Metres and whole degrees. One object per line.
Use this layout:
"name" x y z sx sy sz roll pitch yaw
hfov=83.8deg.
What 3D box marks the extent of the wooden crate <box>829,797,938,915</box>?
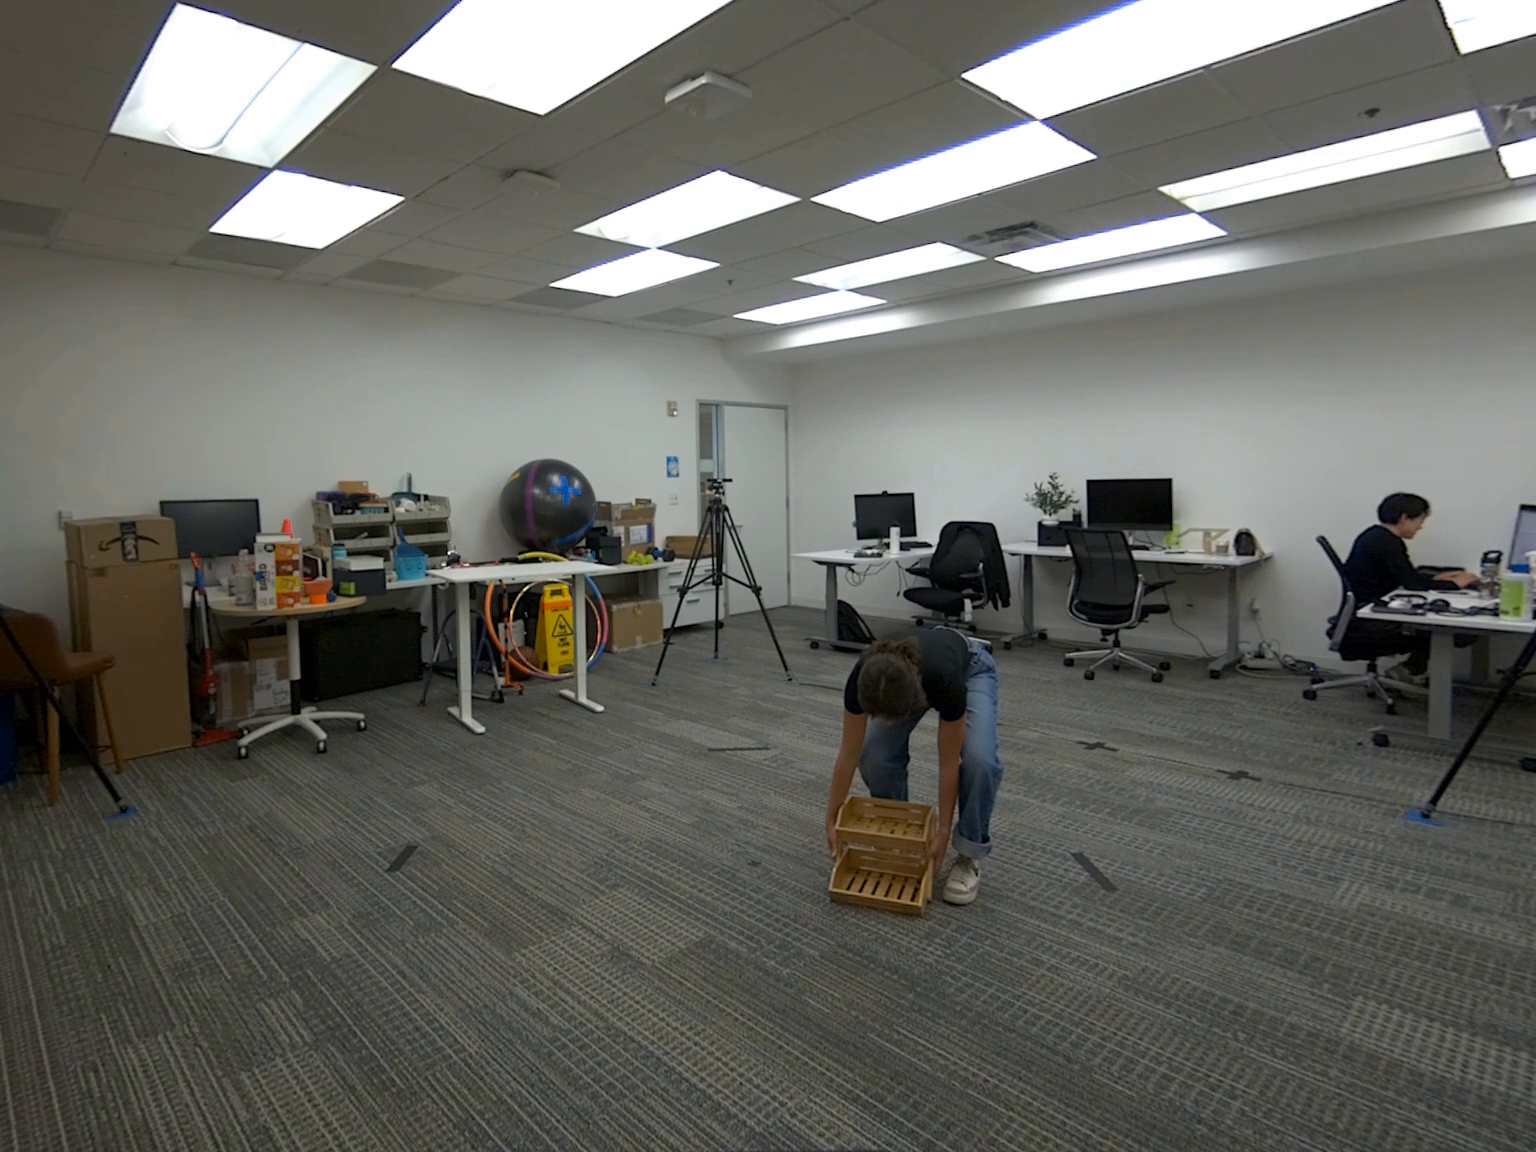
"wooden crate" 0.394 0.932 2.872 0.331 0.272 0.297 1 5 20
